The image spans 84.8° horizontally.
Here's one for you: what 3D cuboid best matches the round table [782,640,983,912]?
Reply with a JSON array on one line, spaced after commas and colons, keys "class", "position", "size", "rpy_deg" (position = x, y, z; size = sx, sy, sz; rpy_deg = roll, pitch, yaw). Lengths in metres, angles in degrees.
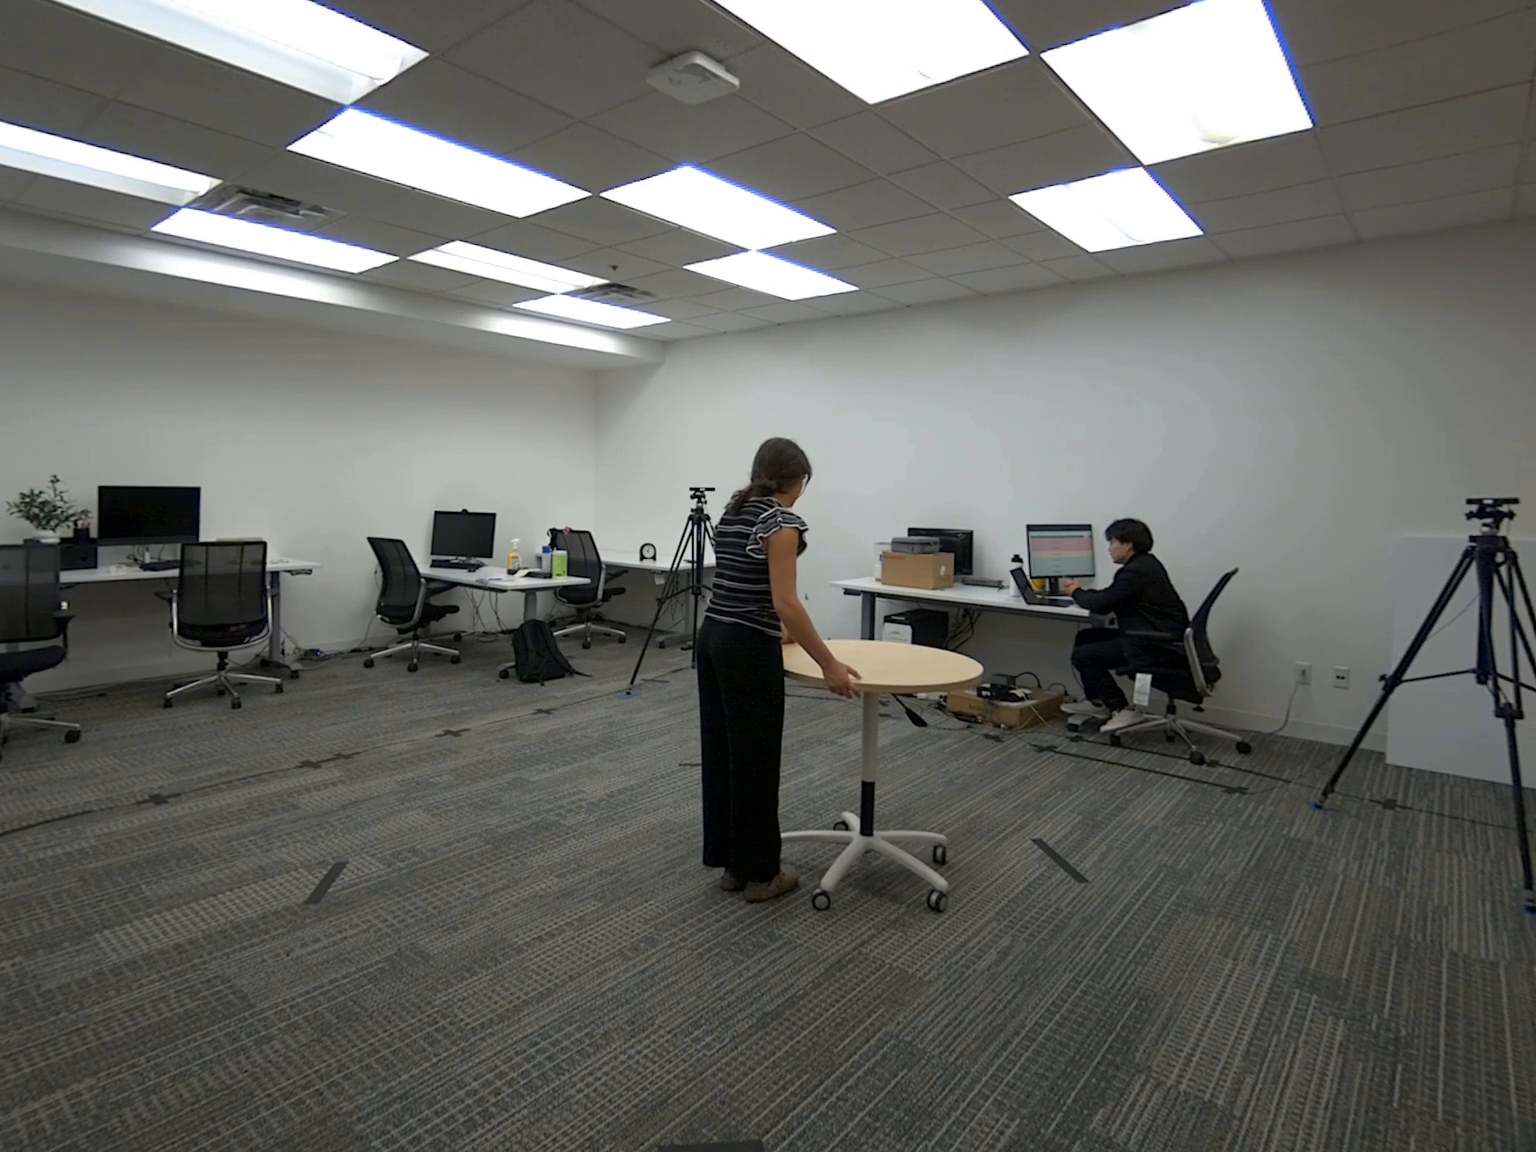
[{"class": "round table", "position": [0.364, 0.691, 3.077], "size": [0.784, 0.783, 0.789], "rpy_deg": [1, 5, -2]}]
